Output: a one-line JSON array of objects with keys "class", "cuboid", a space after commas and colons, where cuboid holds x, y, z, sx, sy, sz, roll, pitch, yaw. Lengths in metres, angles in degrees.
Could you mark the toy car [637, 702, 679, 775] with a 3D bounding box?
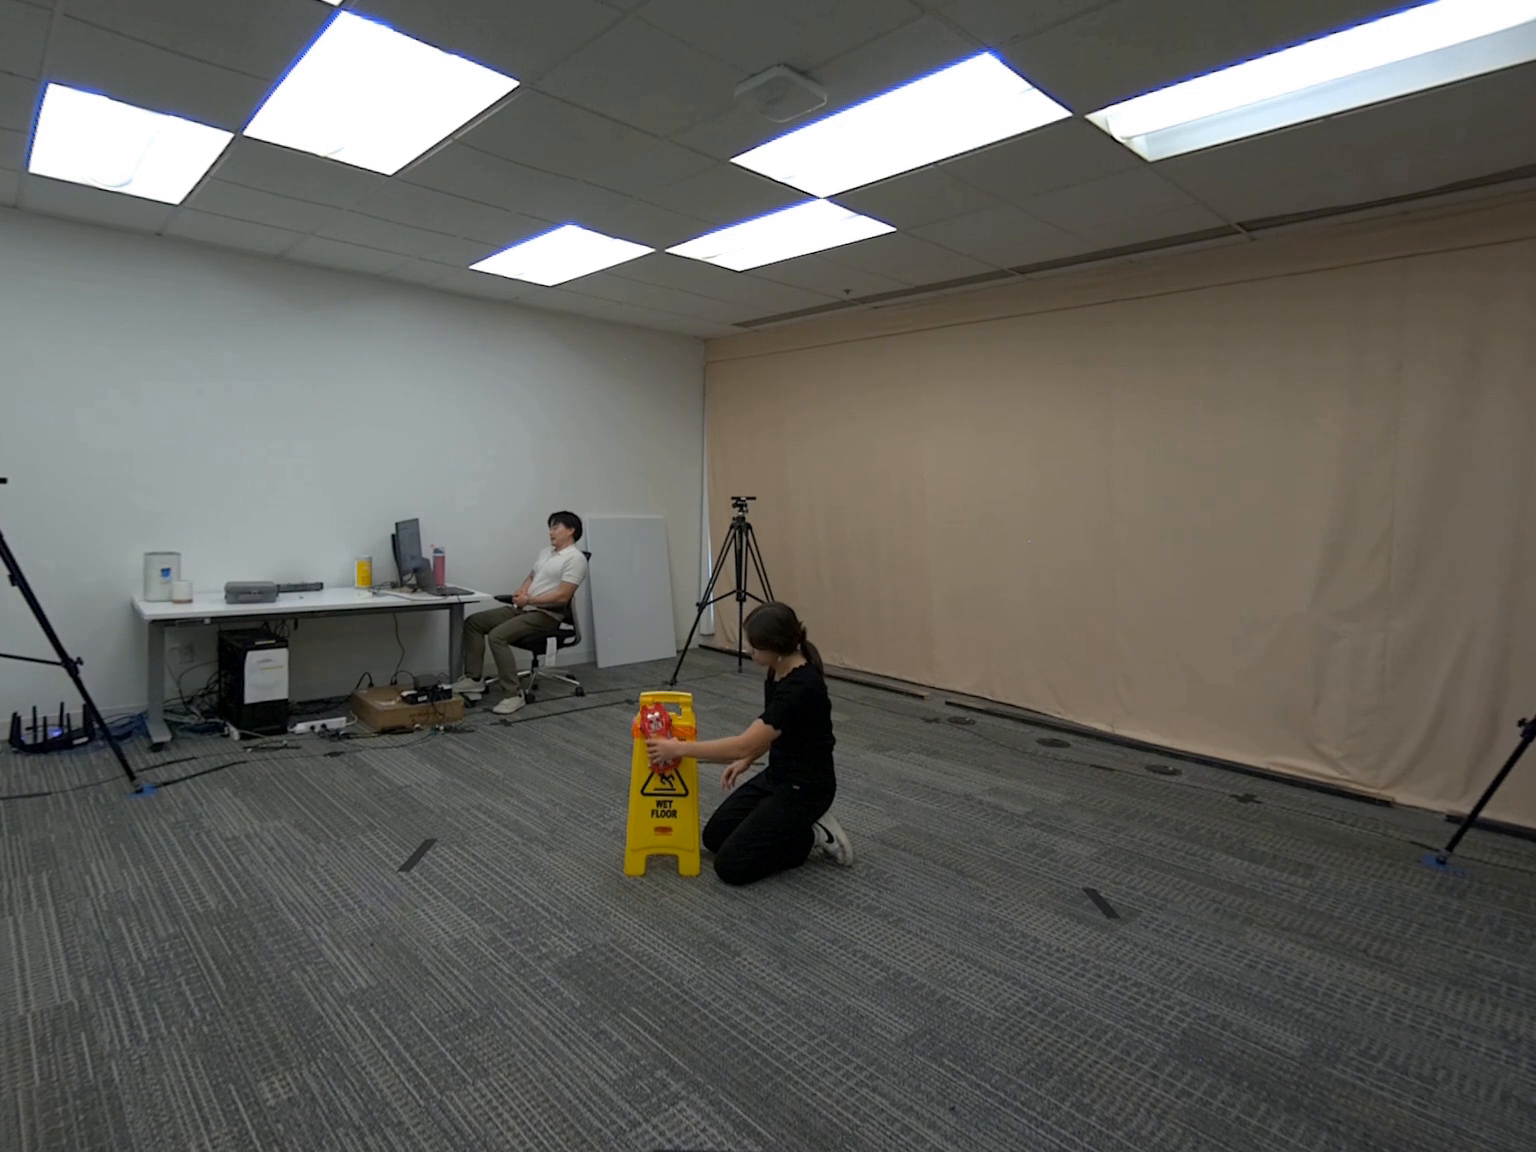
[{"class": "toy car", "cuboid": [-0.409, 0.593, 3.118, 0.130, 0.253, 0.084, -14, 6, -6]}]
